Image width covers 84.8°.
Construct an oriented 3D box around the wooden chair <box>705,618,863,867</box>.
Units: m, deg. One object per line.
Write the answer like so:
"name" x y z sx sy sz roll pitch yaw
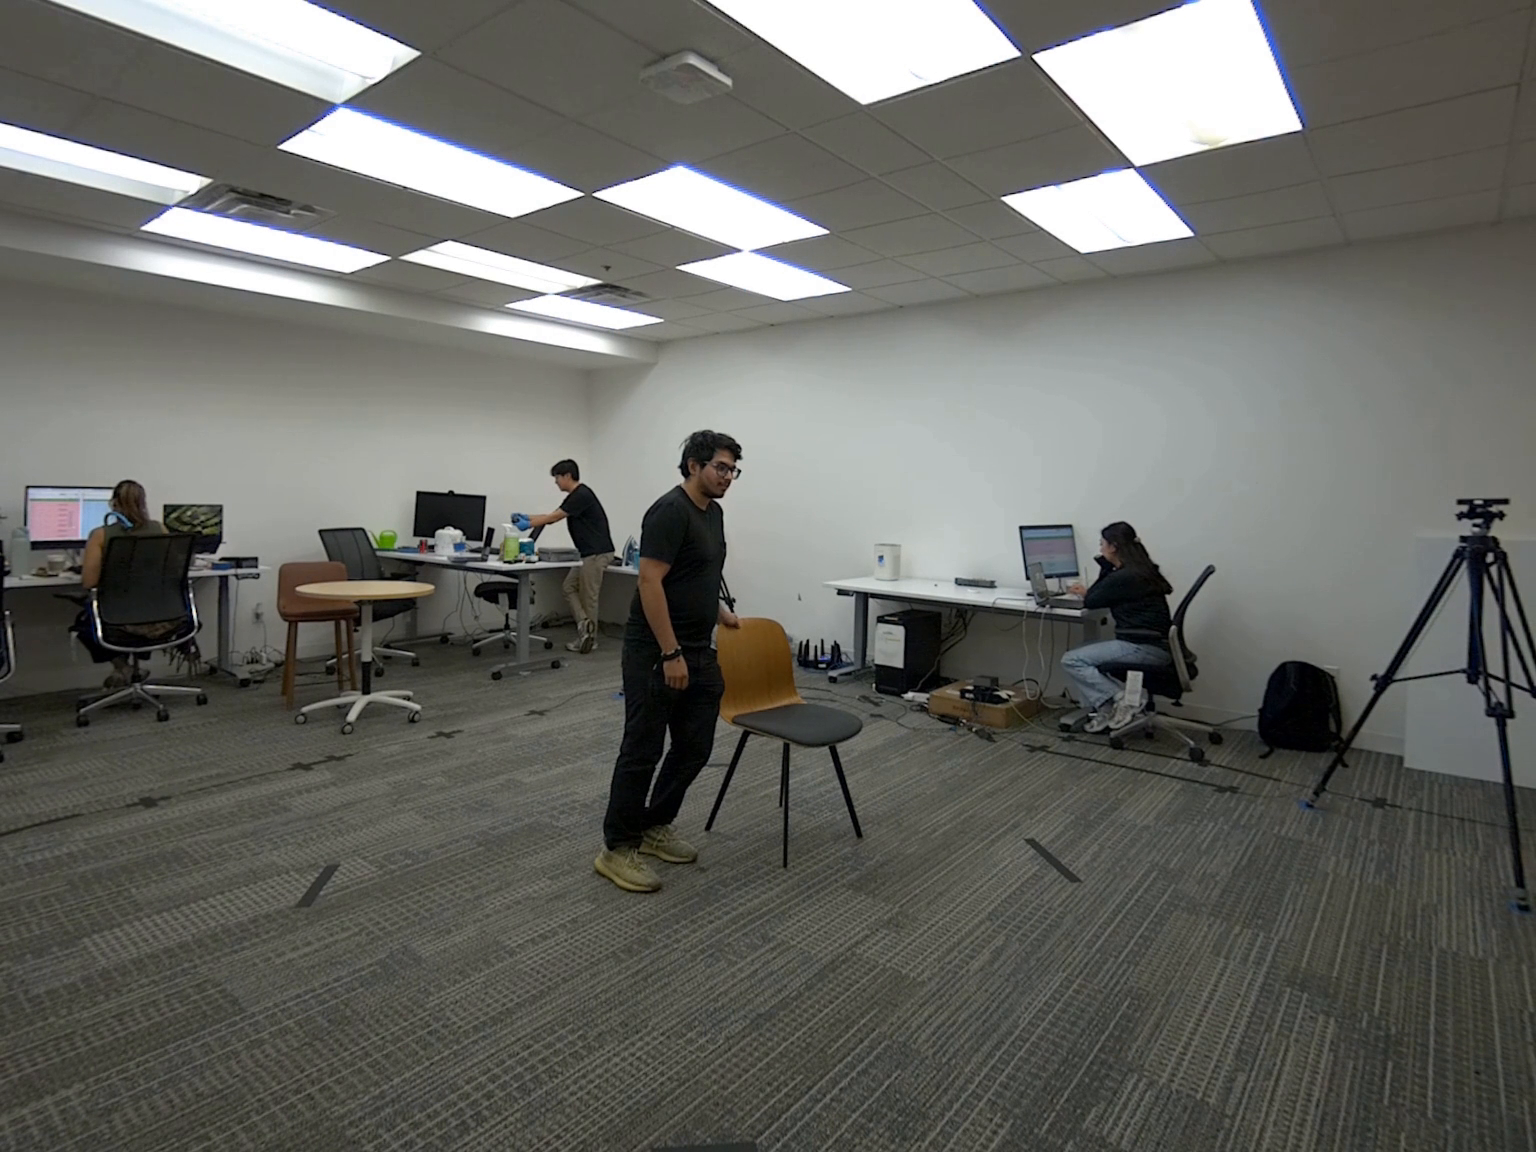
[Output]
"wooden chair" 0.073 0.619 3.418 0.463 0.877 0.539 -2 0 -44
